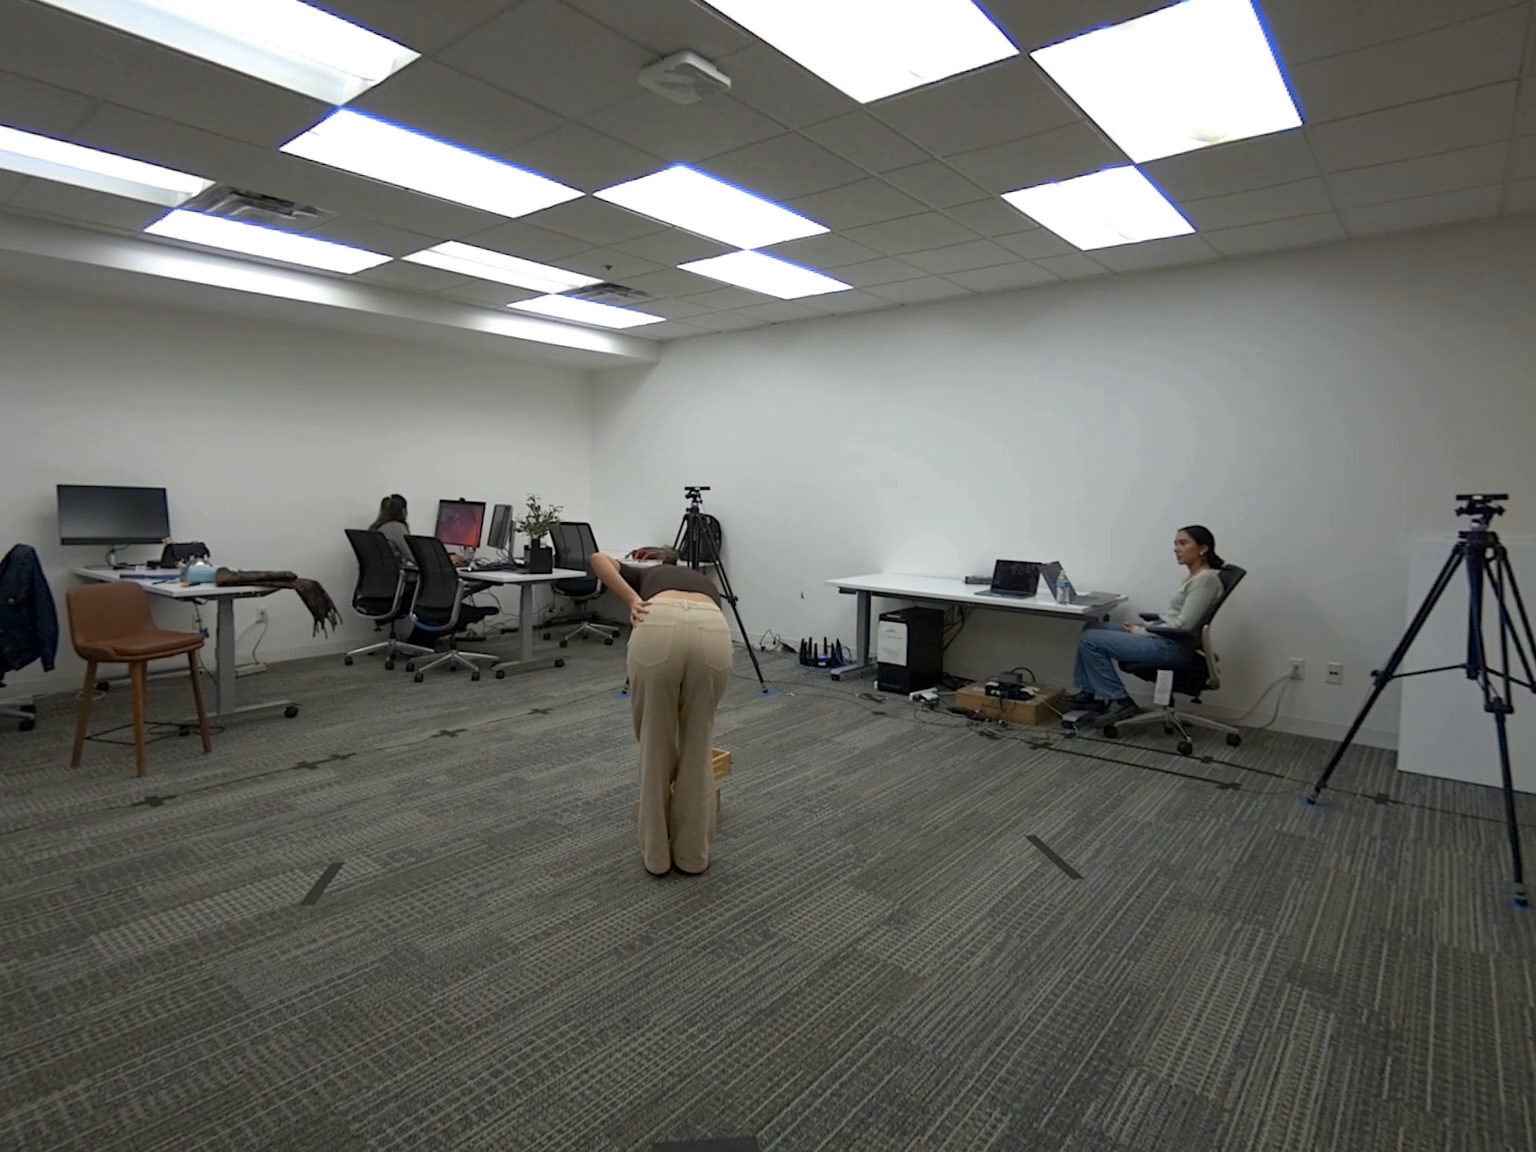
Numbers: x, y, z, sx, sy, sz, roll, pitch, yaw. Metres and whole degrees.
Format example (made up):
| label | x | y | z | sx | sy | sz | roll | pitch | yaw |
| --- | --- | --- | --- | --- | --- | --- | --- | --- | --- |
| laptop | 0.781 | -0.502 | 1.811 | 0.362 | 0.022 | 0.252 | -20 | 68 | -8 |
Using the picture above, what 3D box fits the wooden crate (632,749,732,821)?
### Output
| label | x | y | z | sx | sy | sz | roll | pitch | yaw |
| --- | --- | --- | --- | --- | --- | --- | --- | --- | --- |
| wooden crate | -0.377 | 0.875 | 3.605 | 0.311 | 0.272 | 0.316 | 5 | 6 | 32 |
